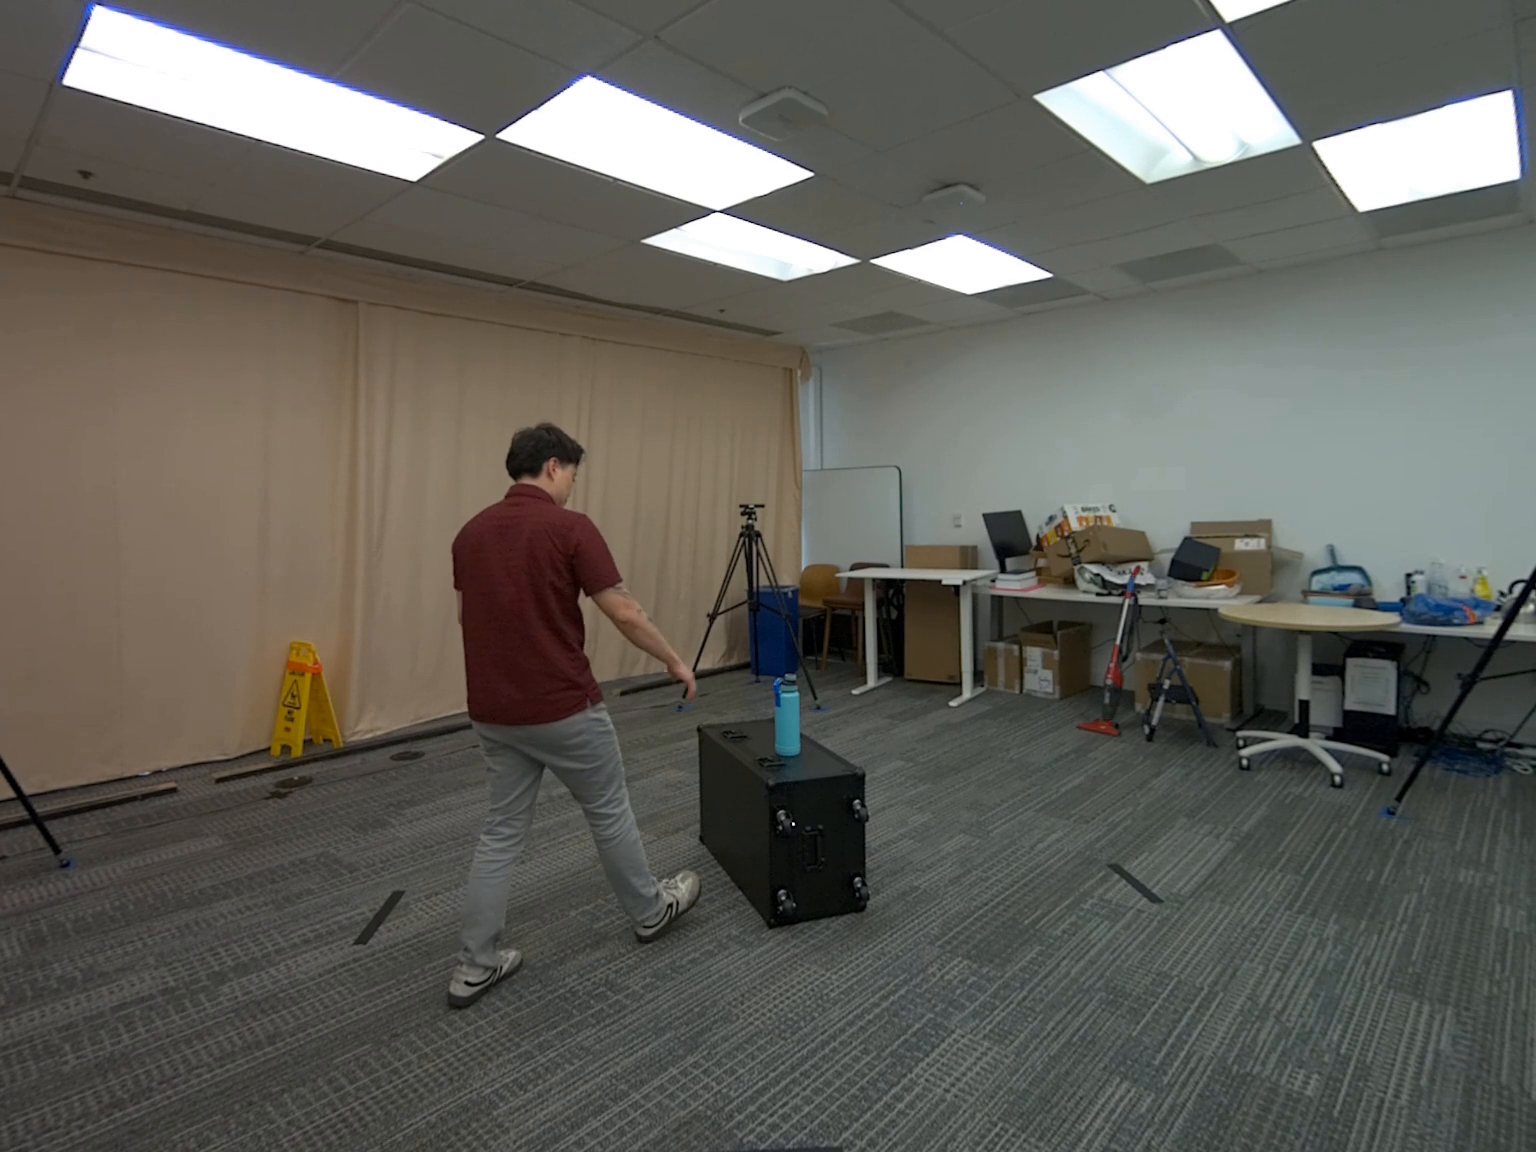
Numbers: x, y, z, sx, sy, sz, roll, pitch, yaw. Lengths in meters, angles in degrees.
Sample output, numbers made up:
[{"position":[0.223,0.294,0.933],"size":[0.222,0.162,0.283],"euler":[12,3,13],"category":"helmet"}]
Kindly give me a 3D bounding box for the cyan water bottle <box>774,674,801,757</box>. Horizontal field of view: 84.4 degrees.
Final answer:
[{"position":[0.075,0.504,3.076],"size":[0.092,0.282,0.093],"euler":[-2,4,-2],"category":"cyan water bottle"}]
